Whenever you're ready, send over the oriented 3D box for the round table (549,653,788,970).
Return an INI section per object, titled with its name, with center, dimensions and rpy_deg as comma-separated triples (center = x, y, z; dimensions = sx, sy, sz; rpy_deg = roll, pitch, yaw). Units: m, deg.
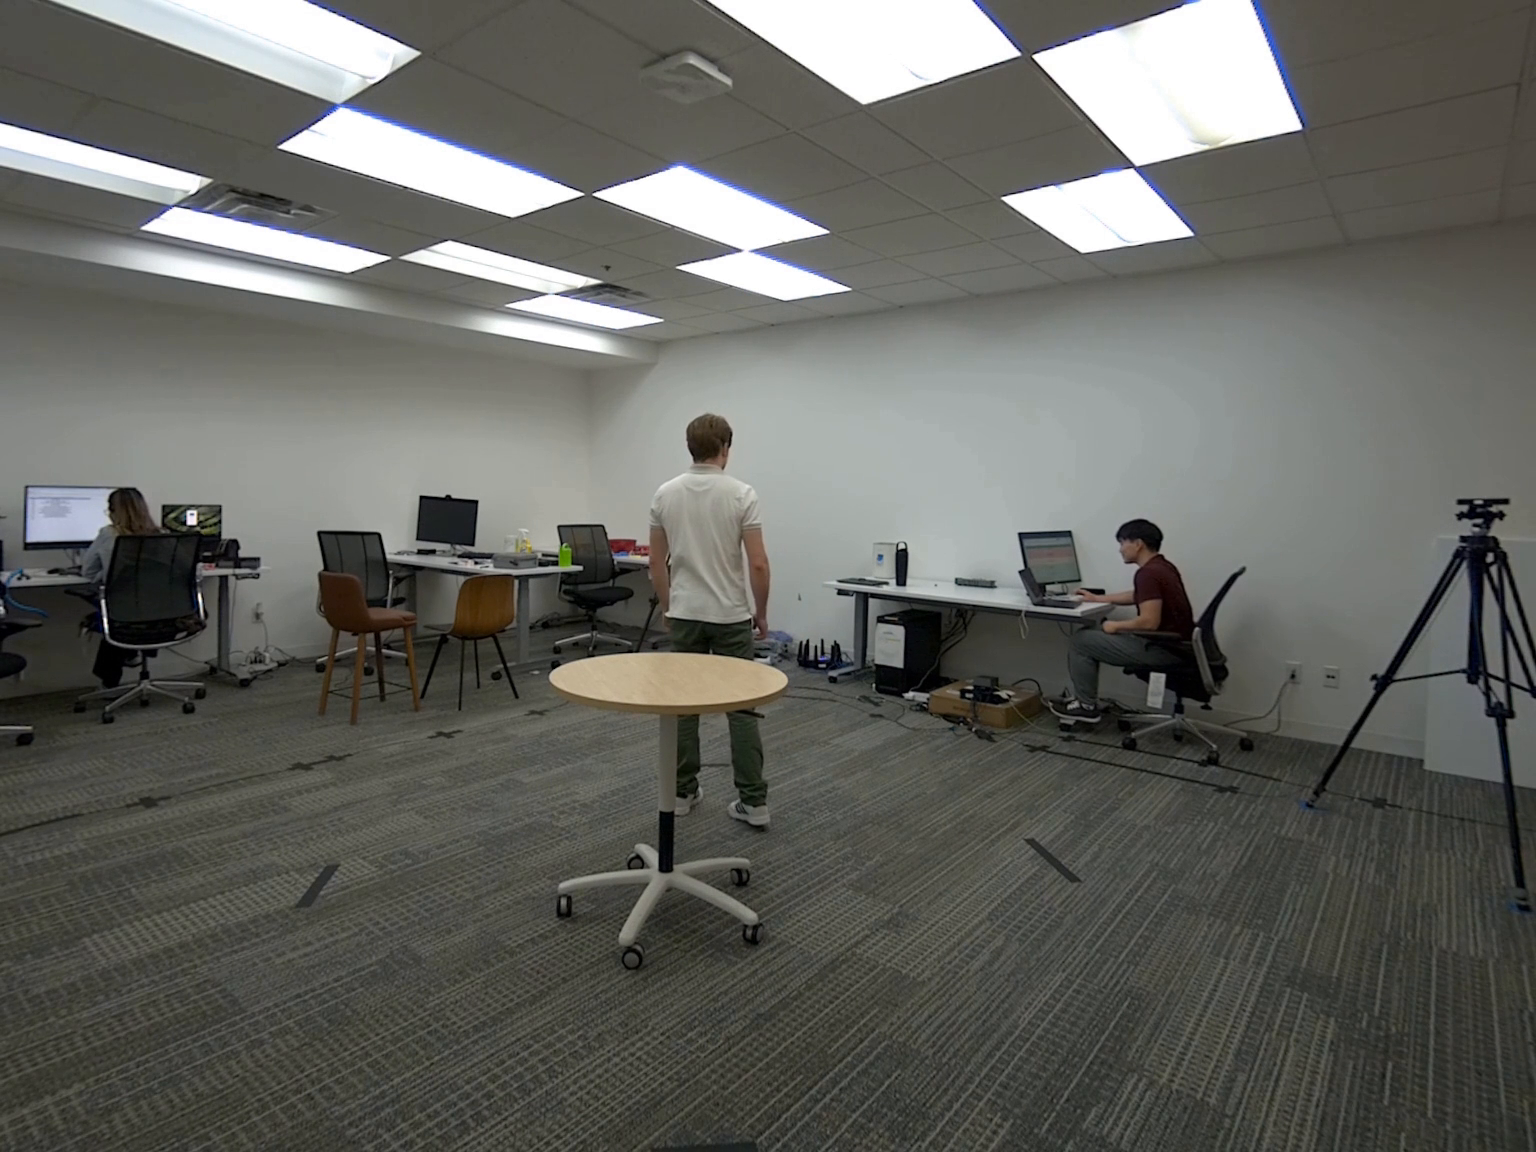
[round table]
center = -0.340, 0.711, 2.765
dimensions = 0.763, 0.792, 0.767
rpy_deg = 1, 4, -2
